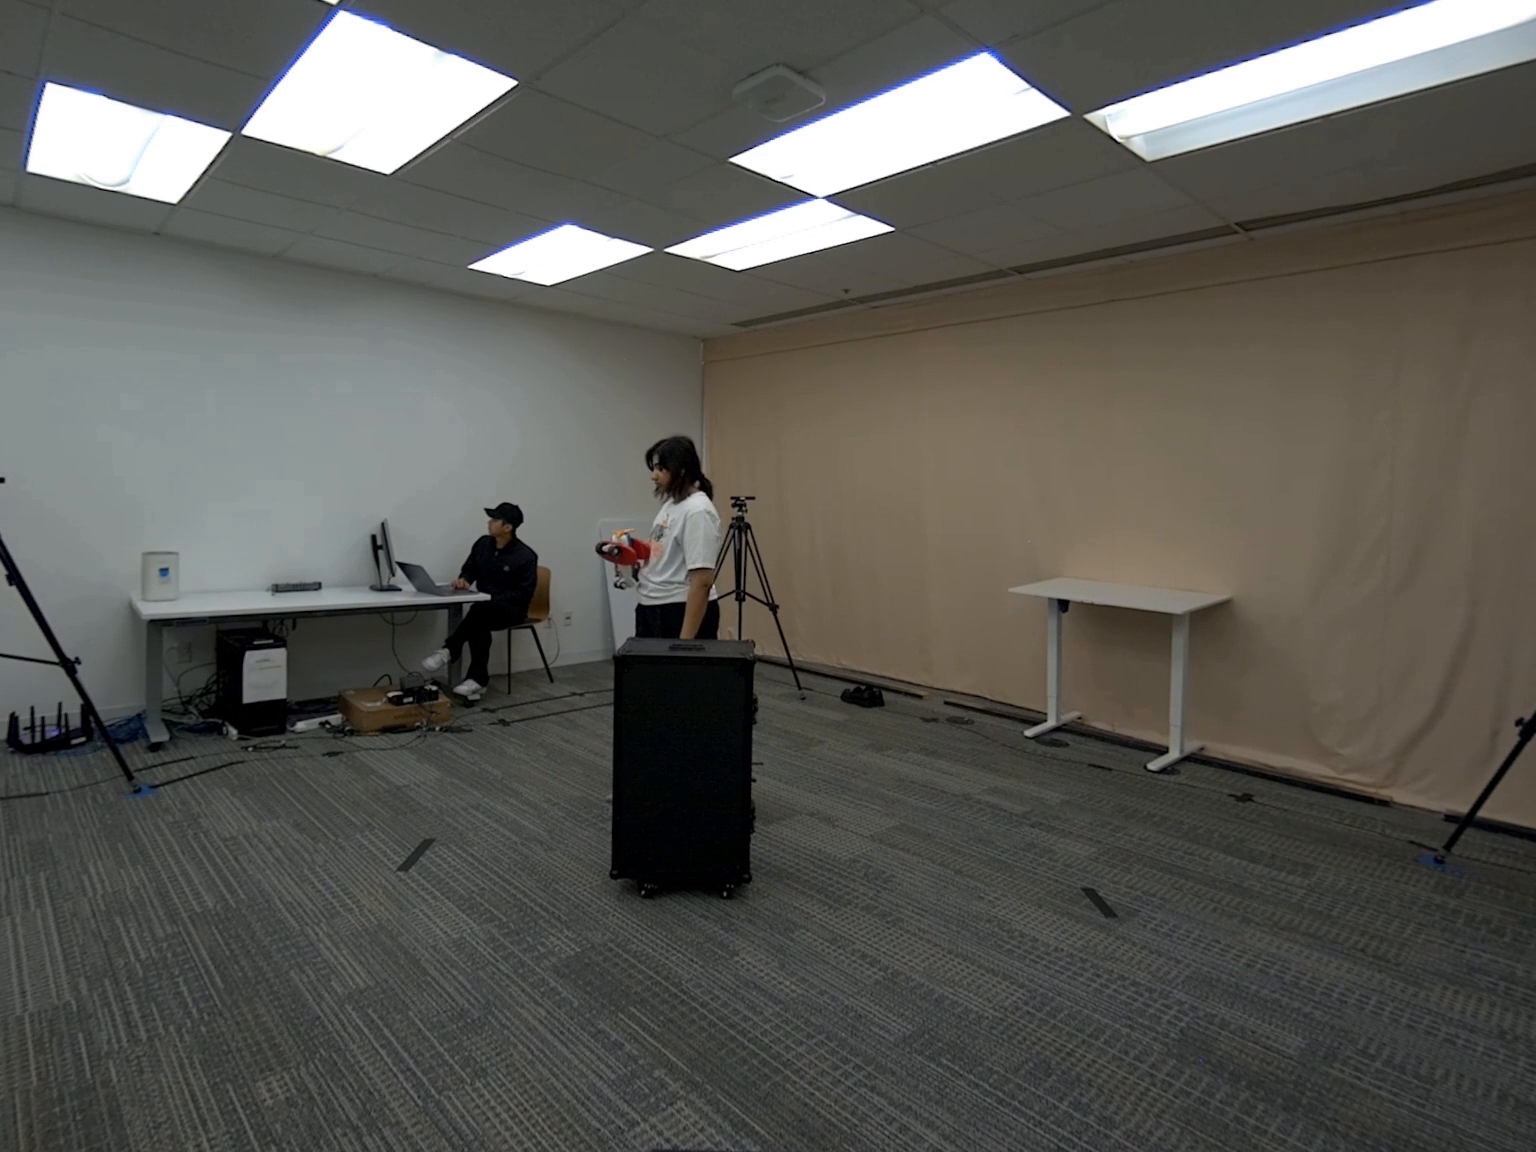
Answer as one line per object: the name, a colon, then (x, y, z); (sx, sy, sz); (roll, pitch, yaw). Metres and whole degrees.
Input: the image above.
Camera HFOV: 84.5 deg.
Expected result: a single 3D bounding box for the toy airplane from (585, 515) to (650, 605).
toy airplane: (-0.640, -0.070, 3.655); (0.256, 0.254, 0.156); (32, 51, 19)
